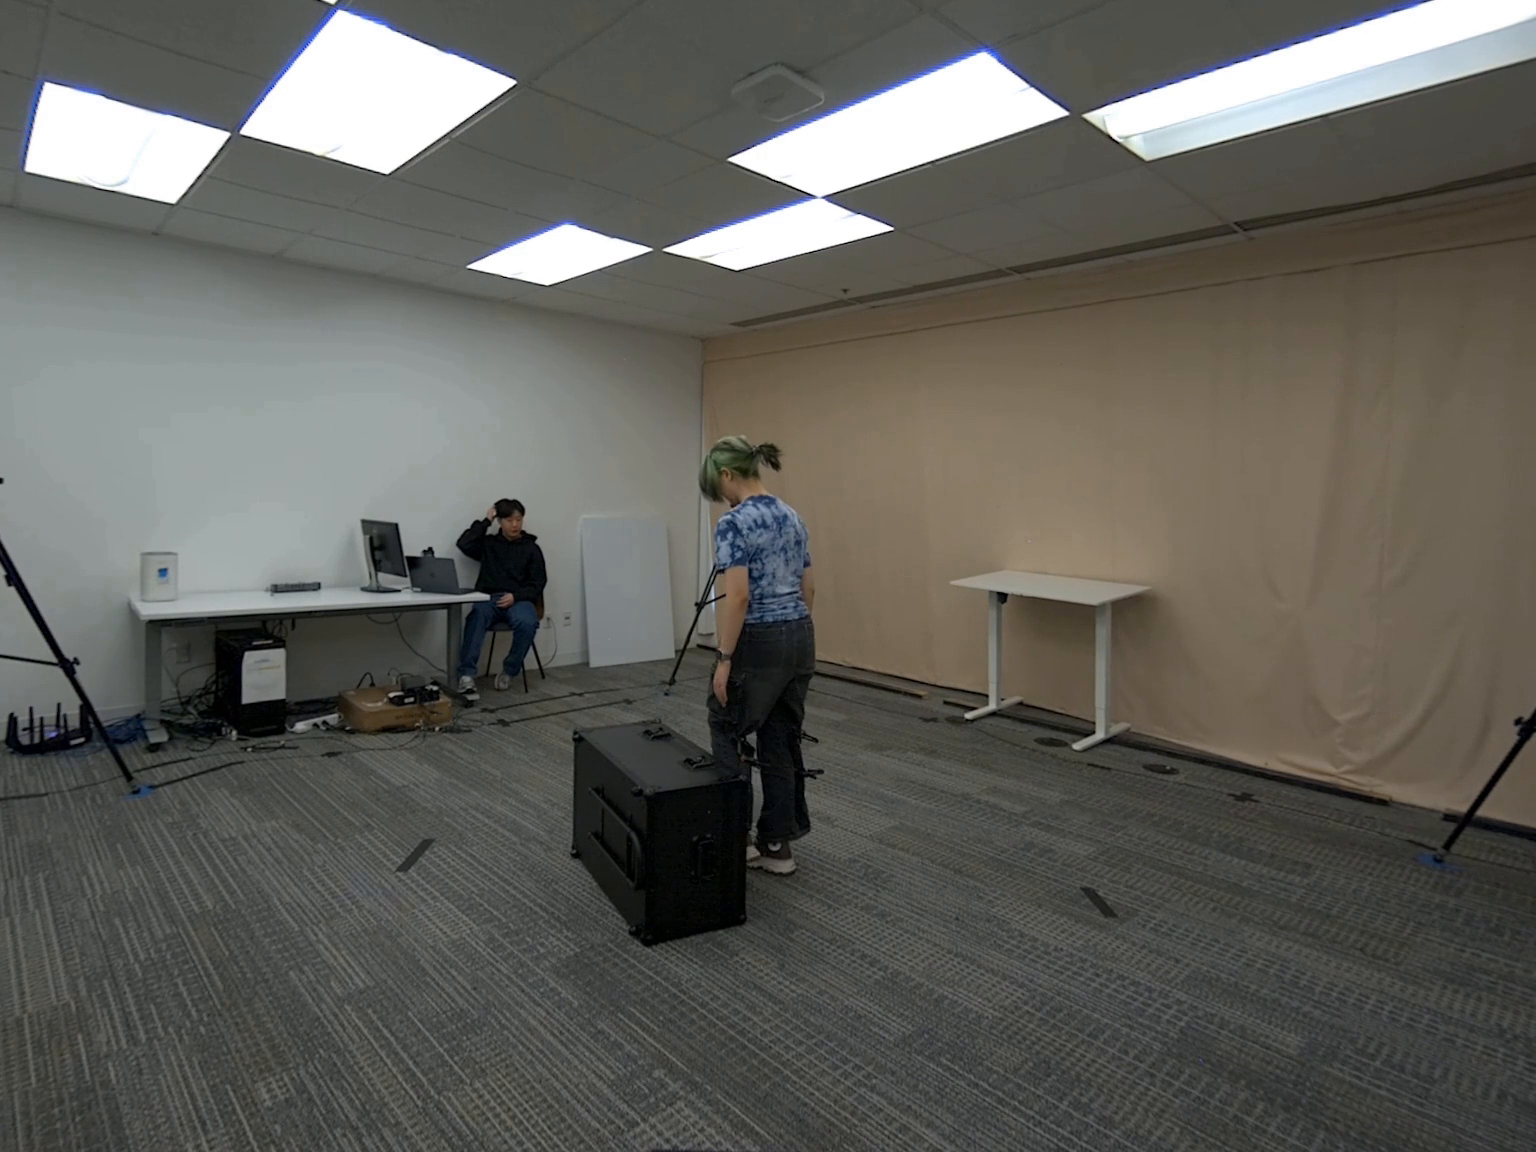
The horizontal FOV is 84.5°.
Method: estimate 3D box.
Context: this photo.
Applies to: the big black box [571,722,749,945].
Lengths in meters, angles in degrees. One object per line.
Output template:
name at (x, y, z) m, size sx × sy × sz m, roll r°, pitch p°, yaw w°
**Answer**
big black box at (-0.447, 0.862, 3.022) m, size 0.389 × 0.520 × 0.880 m, roll -1°, pitch 5°, yaw -27°
